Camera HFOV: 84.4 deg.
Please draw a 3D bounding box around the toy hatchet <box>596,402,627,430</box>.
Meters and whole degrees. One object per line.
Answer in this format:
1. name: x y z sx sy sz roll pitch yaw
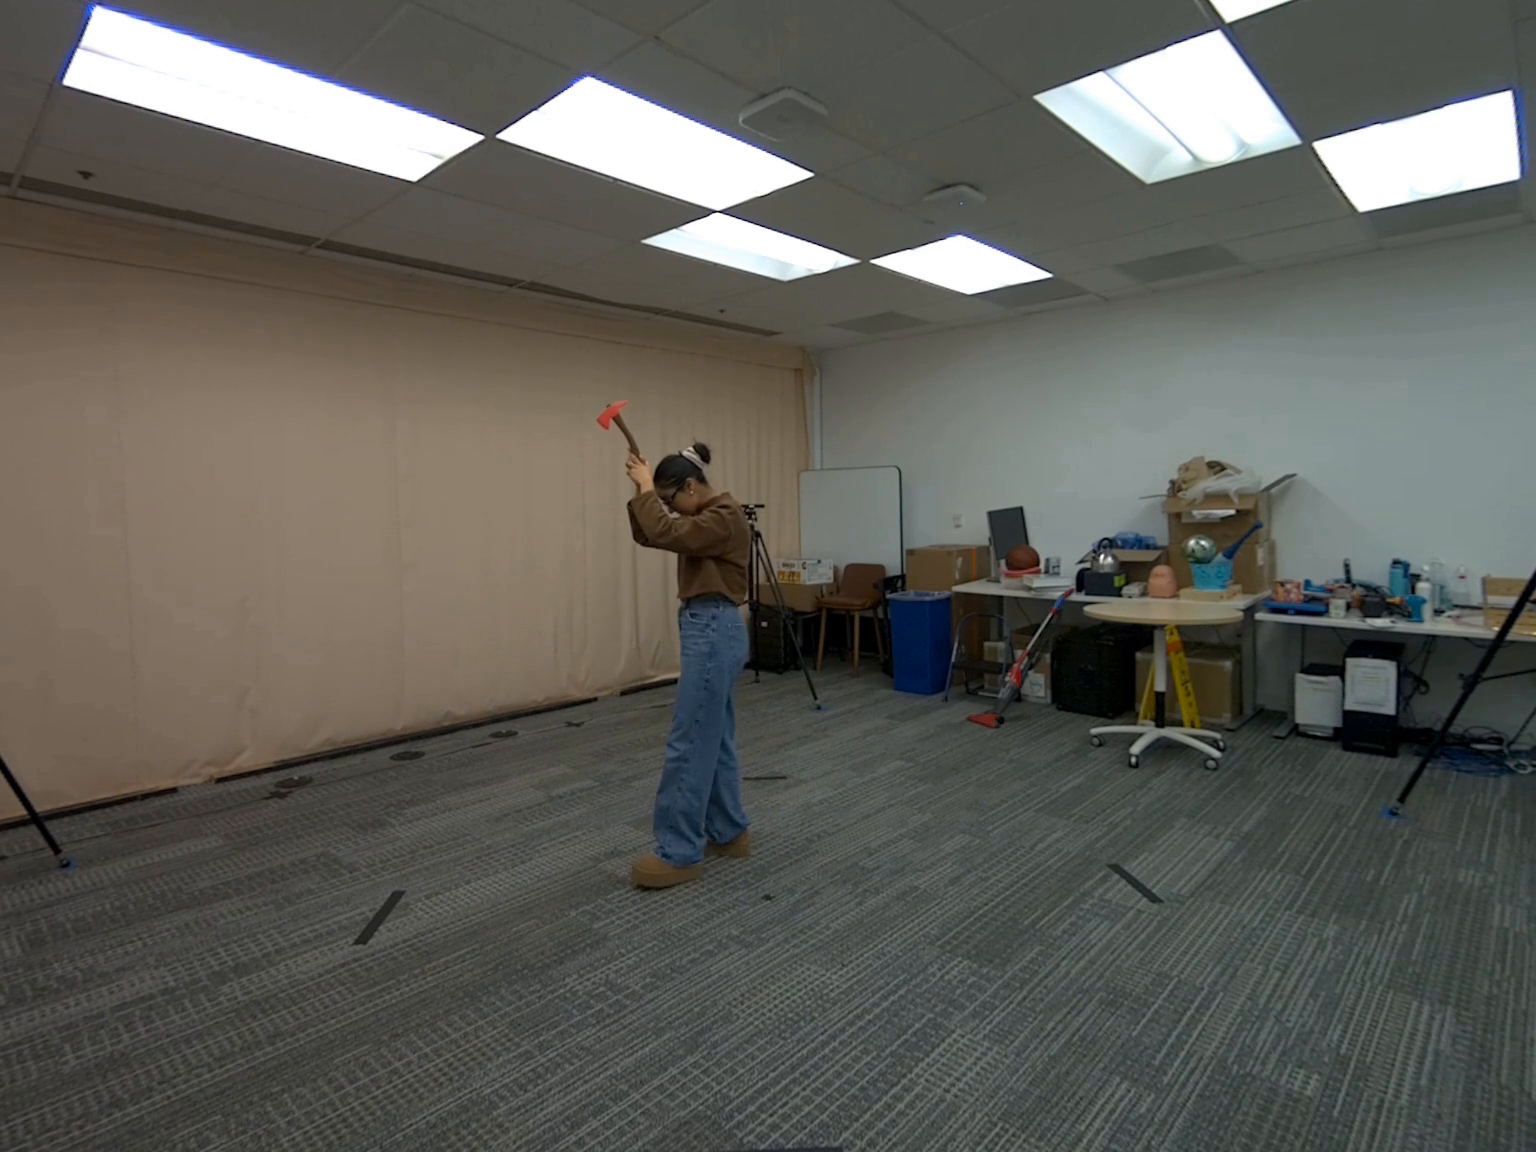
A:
1. toy hatchet: -0.565 -0.532 3.209 0.130 0.269 0.030 -14 5 -9
